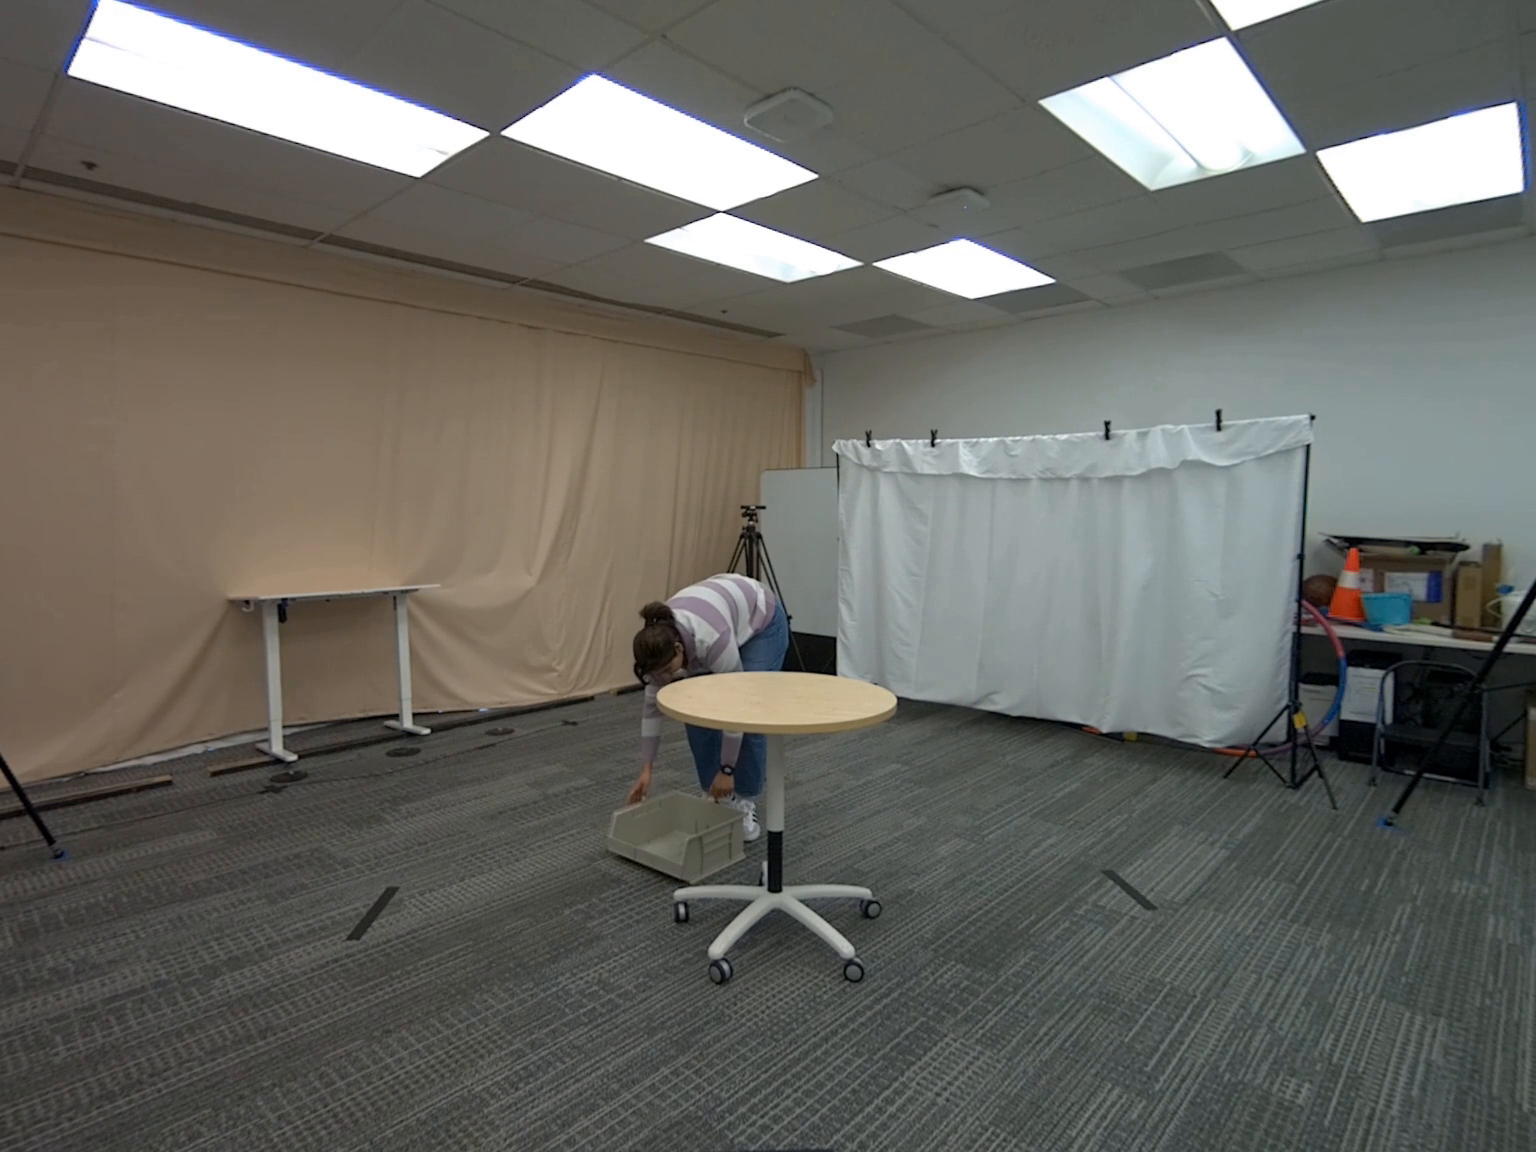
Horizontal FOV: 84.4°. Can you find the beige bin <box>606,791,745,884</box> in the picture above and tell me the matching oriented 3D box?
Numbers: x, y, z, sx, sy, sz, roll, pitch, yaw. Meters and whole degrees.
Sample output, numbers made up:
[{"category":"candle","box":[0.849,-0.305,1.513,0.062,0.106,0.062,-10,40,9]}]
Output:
[{"category":"beige bin","box":[-0.356,1.027,3.333,0.436,0.188,0.366,3,5,41]}]
